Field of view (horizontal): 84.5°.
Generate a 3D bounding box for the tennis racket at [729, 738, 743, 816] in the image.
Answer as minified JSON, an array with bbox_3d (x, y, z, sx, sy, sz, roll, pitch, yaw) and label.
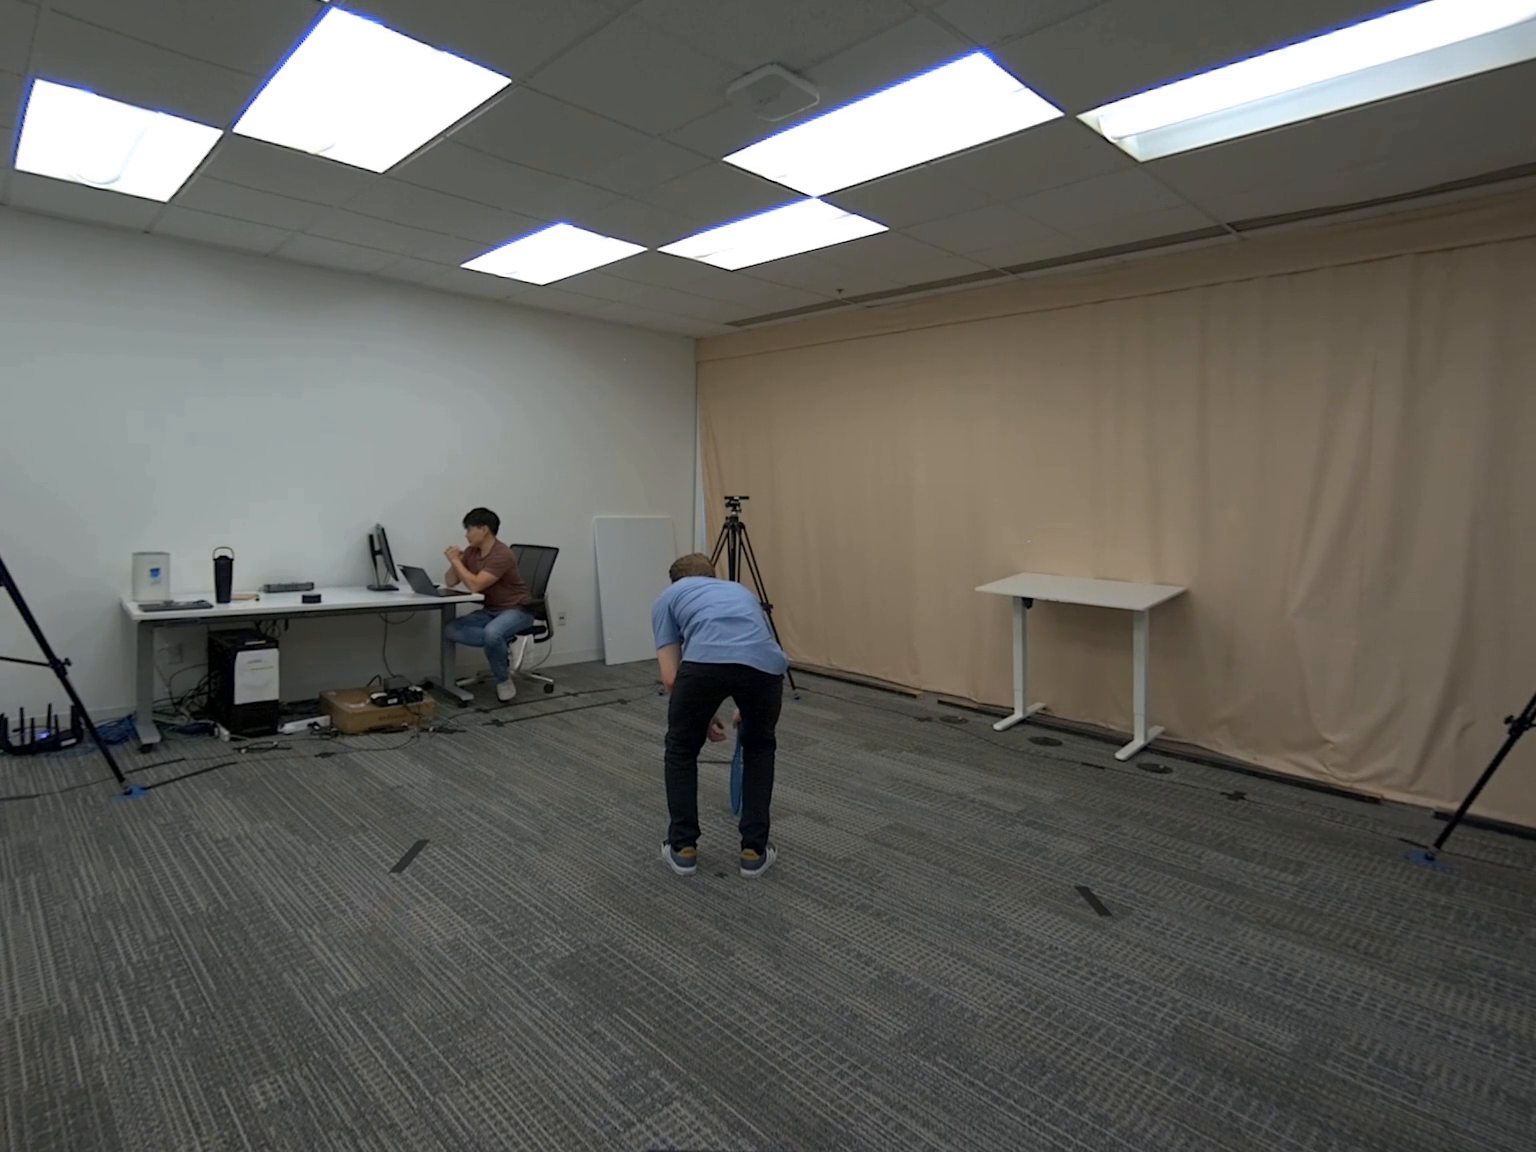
[{"bbox_3d":[-0.146,0.836,3.696,0.031,0.430,0.216,2,10,-8],"label":"tennis racket"}]
